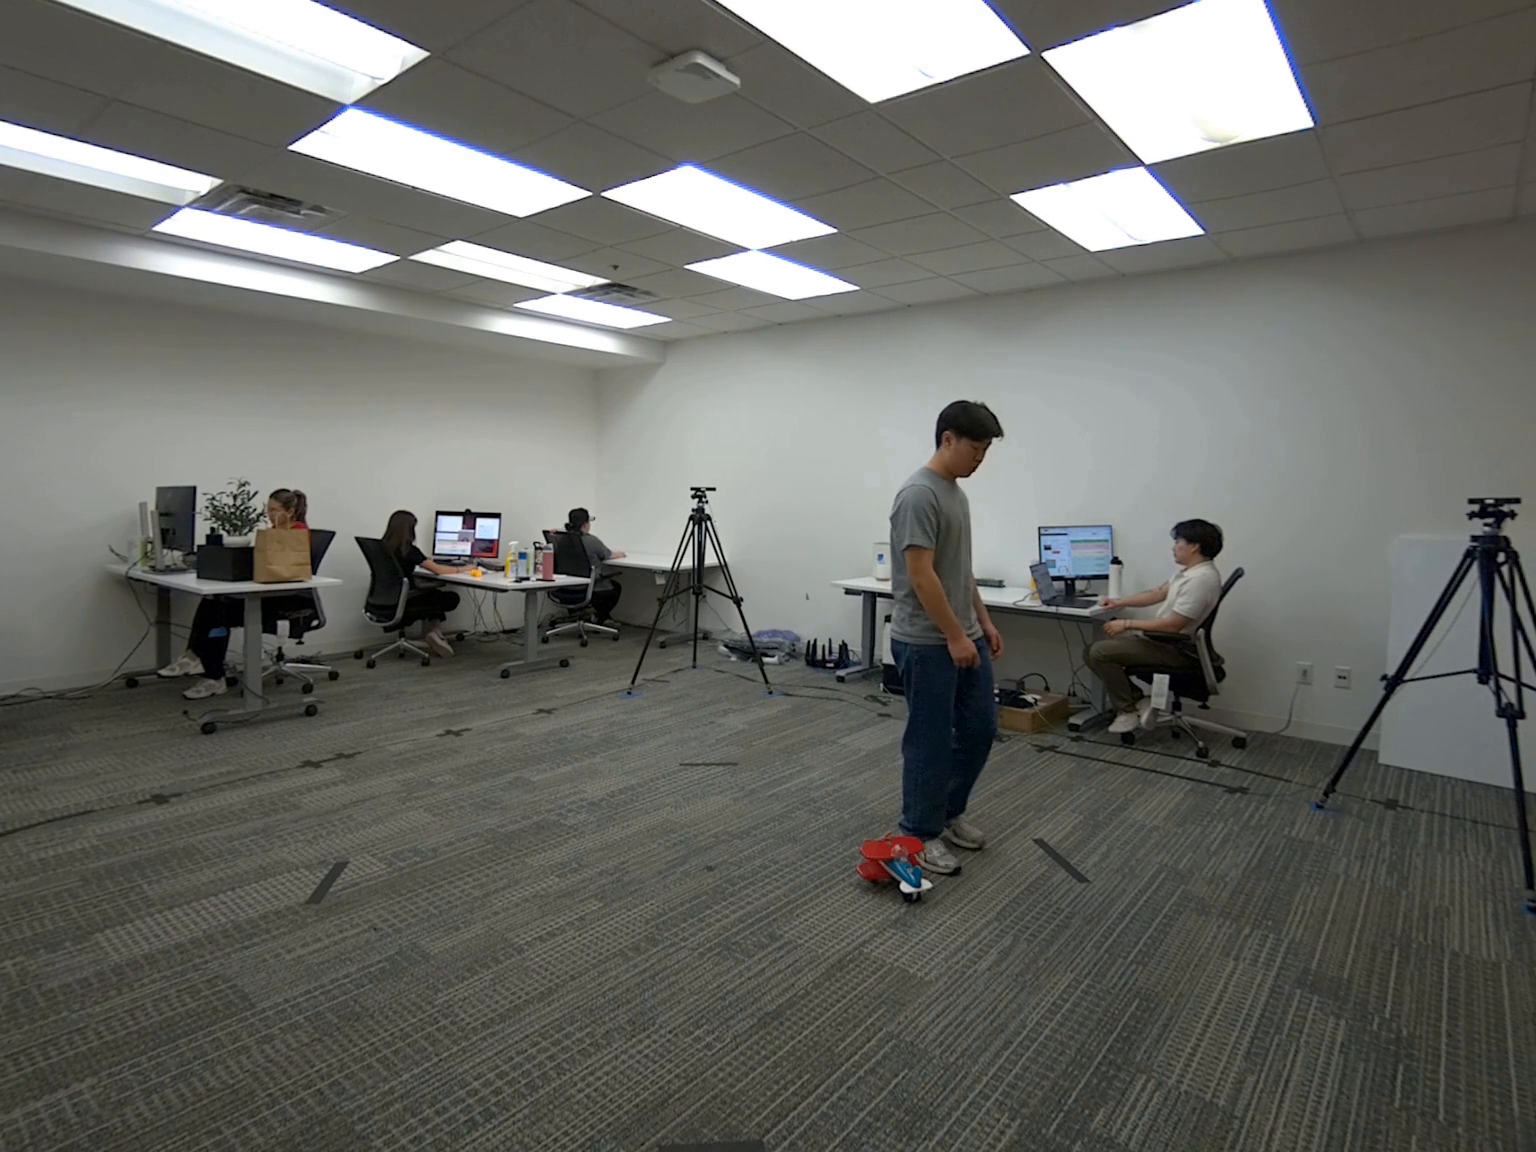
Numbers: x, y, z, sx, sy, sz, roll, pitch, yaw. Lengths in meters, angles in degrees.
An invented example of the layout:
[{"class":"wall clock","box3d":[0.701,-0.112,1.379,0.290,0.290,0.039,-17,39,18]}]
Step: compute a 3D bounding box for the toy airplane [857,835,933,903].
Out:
[{"class":"toy airplane","box3d":[0.461,1.021,2.985,0.268,0.156,0.244,4,6,36]}]
